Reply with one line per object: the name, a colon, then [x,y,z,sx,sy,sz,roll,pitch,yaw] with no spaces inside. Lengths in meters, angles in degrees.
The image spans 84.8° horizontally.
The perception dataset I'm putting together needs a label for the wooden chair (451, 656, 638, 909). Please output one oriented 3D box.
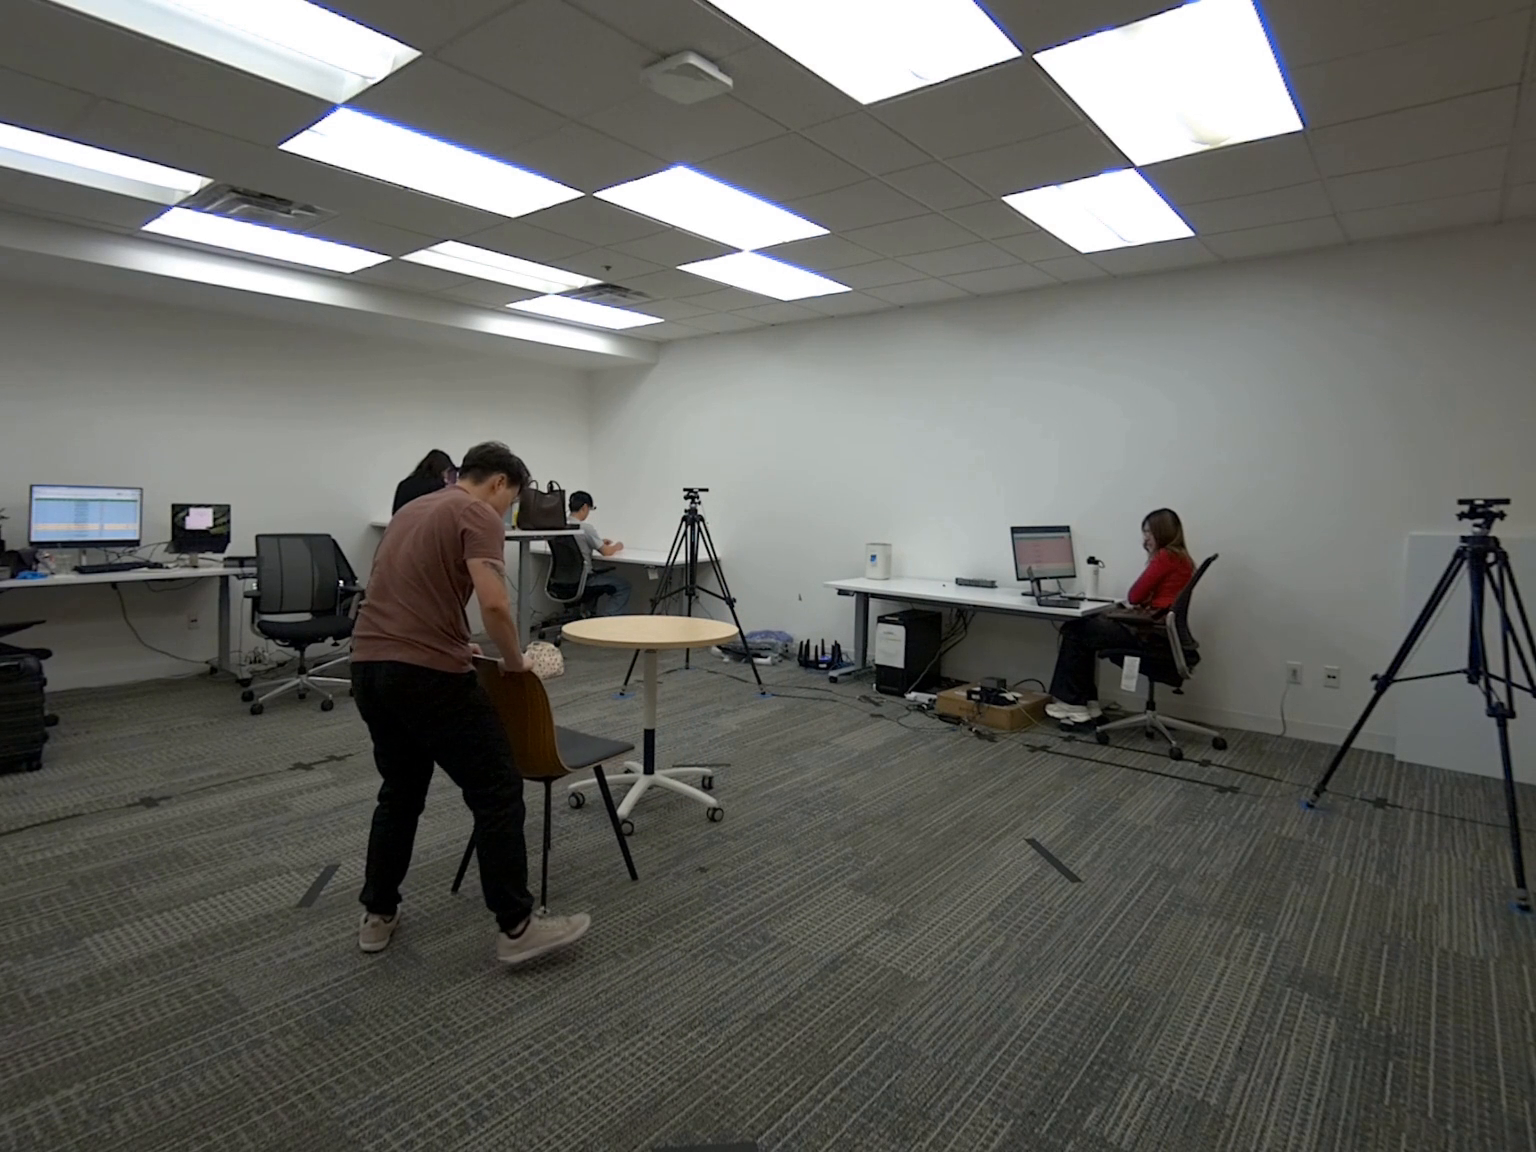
wooden chair: [-0.767,0.648,2.939,0.493,0.871,0.511,2,8,34]
